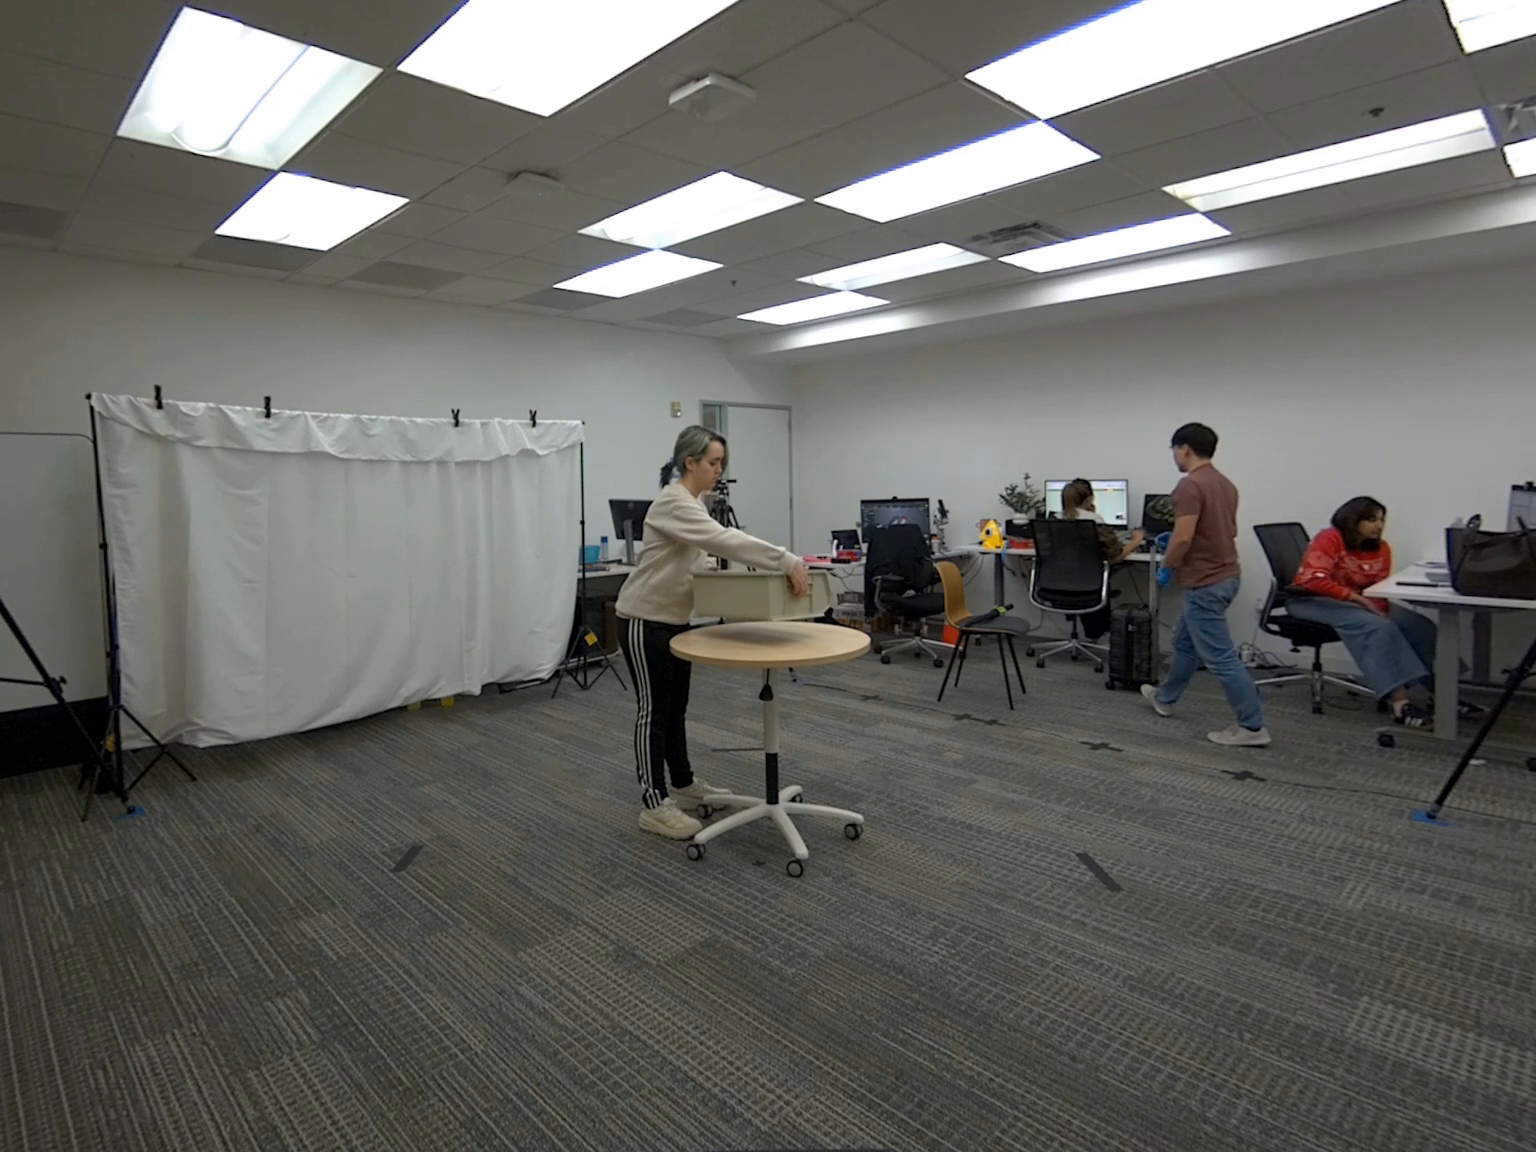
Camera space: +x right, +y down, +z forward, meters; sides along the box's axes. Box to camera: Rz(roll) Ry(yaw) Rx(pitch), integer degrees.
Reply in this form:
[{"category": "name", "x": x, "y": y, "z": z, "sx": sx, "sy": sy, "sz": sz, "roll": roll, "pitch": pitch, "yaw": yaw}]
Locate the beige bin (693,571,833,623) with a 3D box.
[{"category": "beige bin", "x": -0.027, "y": 0.073, "z": 3.324, "sx": 0.434, "sy": 0.189, "sz": 0.367, "roll": 1, "pitch": 2, "yaw": 42}]
